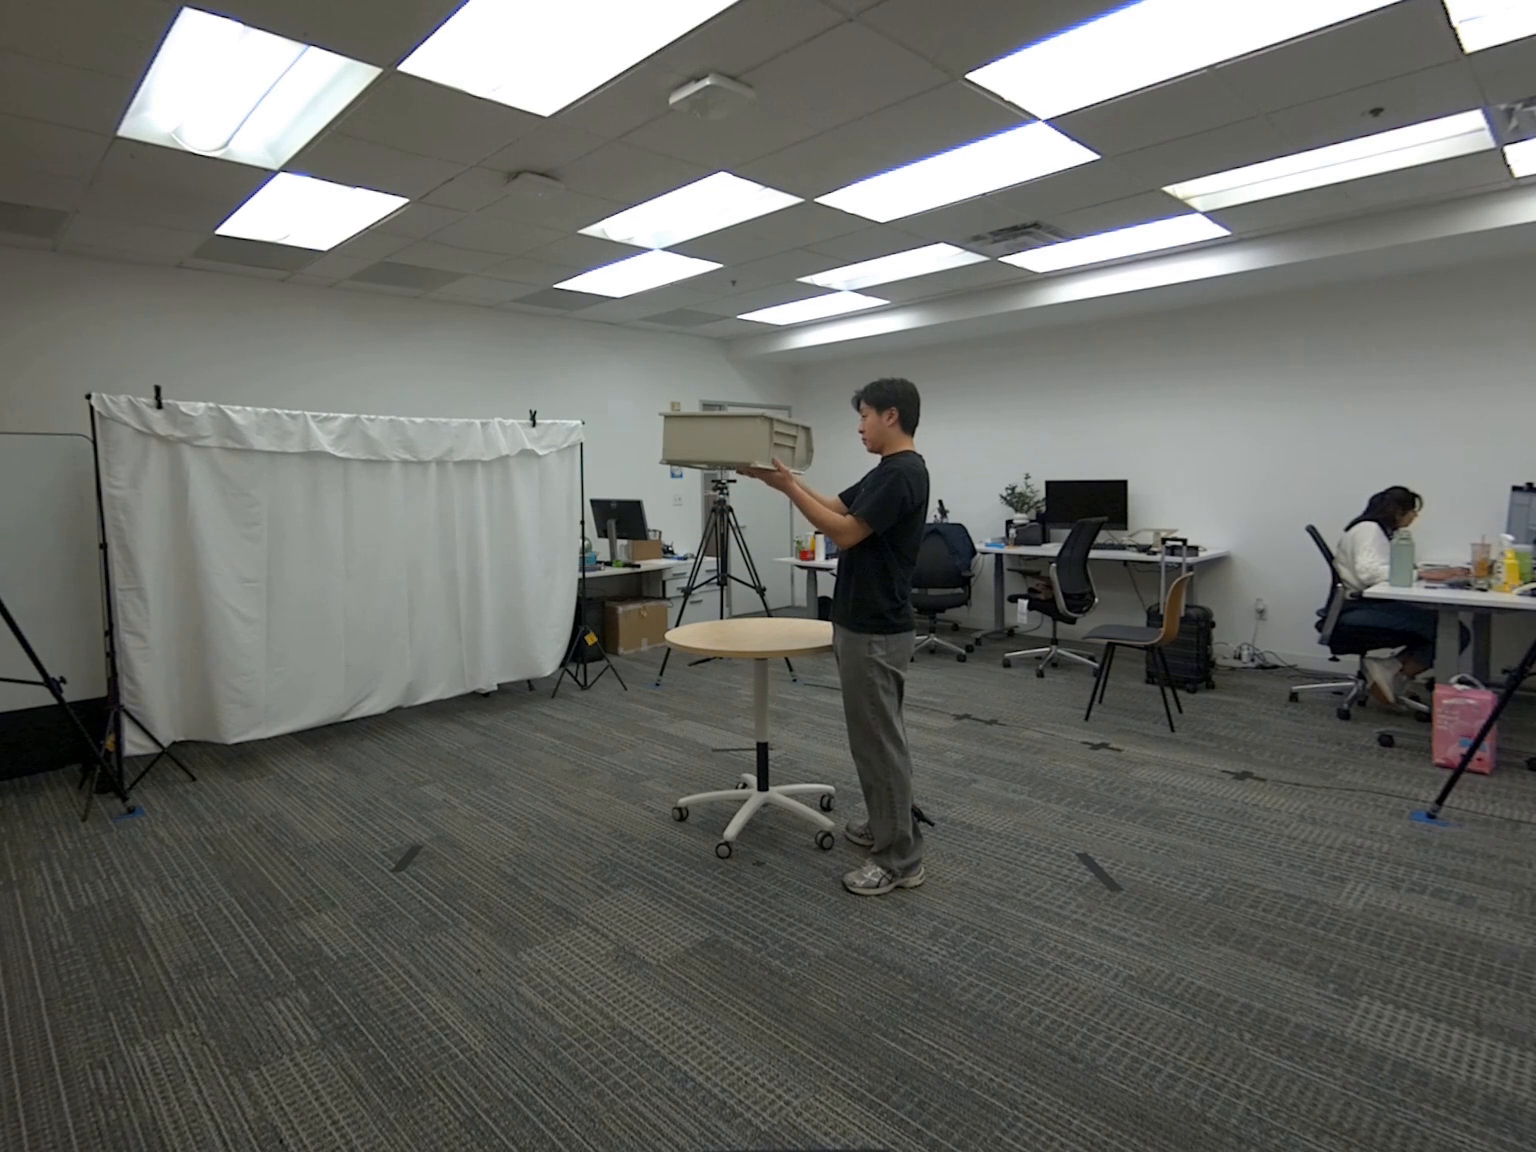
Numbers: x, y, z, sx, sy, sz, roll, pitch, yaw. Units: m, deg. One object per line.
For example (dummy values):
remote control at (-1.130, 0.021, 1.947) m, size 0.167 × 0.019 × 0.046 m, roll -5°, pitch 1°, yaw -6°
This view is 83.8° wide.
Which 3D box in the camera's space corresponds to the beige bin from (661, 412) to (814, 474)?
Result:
beige bin at (-0.107, -0.461, 3.007) m, size 0.434 × 0.188 × 0.368 m, roll 7°, pitch 6°, yaw 31°
